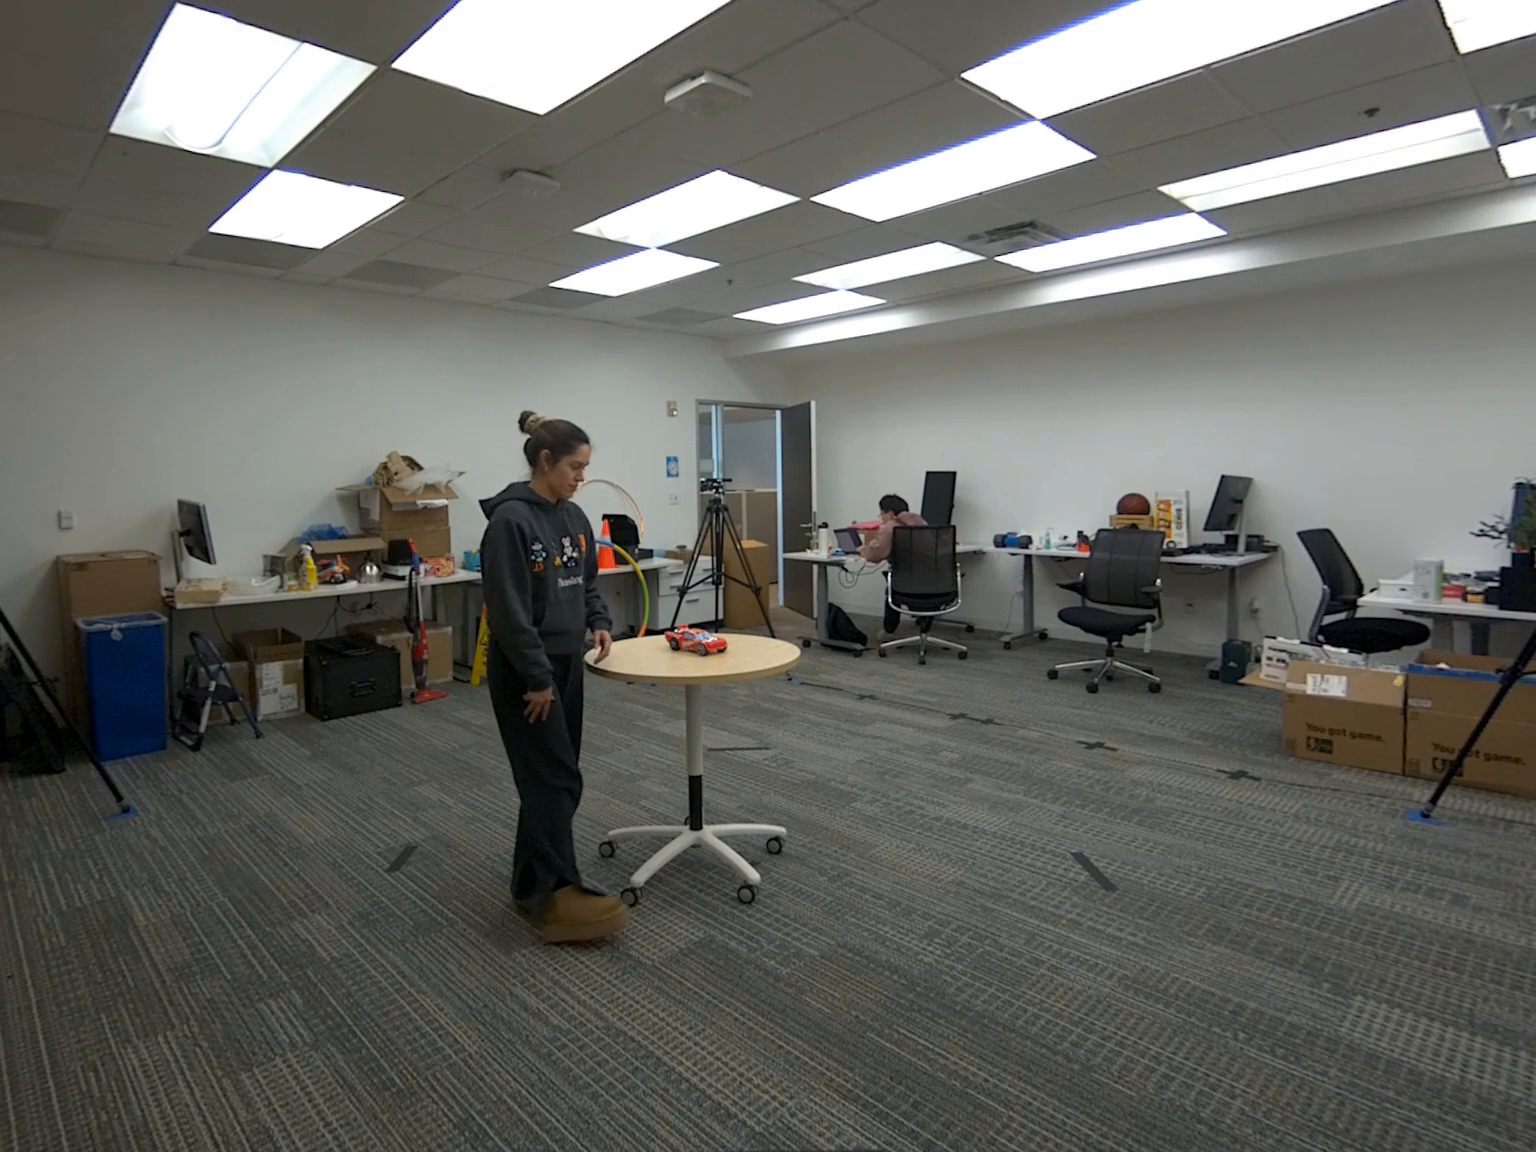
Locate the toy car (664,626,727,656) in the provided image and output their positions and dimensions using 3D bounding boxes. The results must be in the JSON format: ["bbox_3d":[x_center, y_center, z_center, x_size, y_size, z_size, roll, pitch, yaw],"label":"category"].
[{"bbox_3d":[-0.264,0.238,3.072,0.264,0.082,0.127,18,17,42],"label":"toy car"}]
